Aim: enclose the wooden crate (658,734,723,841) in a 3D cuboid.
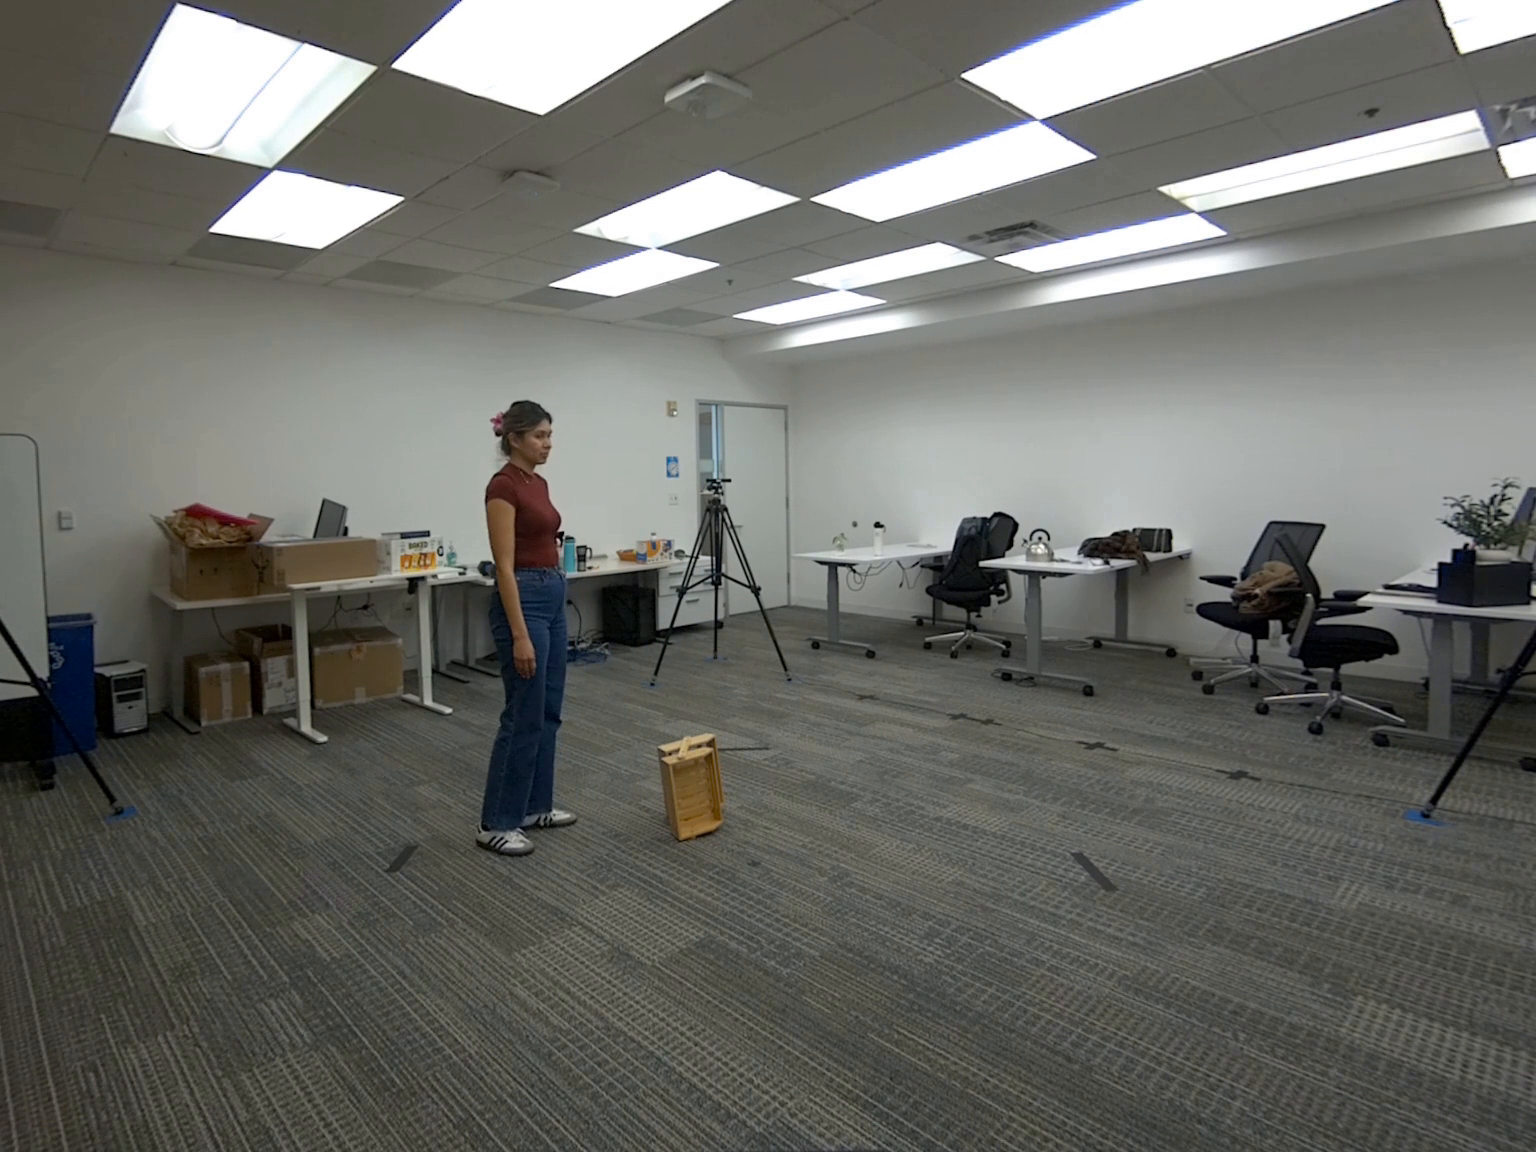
[{"bbox_3d":[-0.284,0.842,3.461,0.296,0.323,0.279,-8,4,-26],"label":"wooden crate"}]
